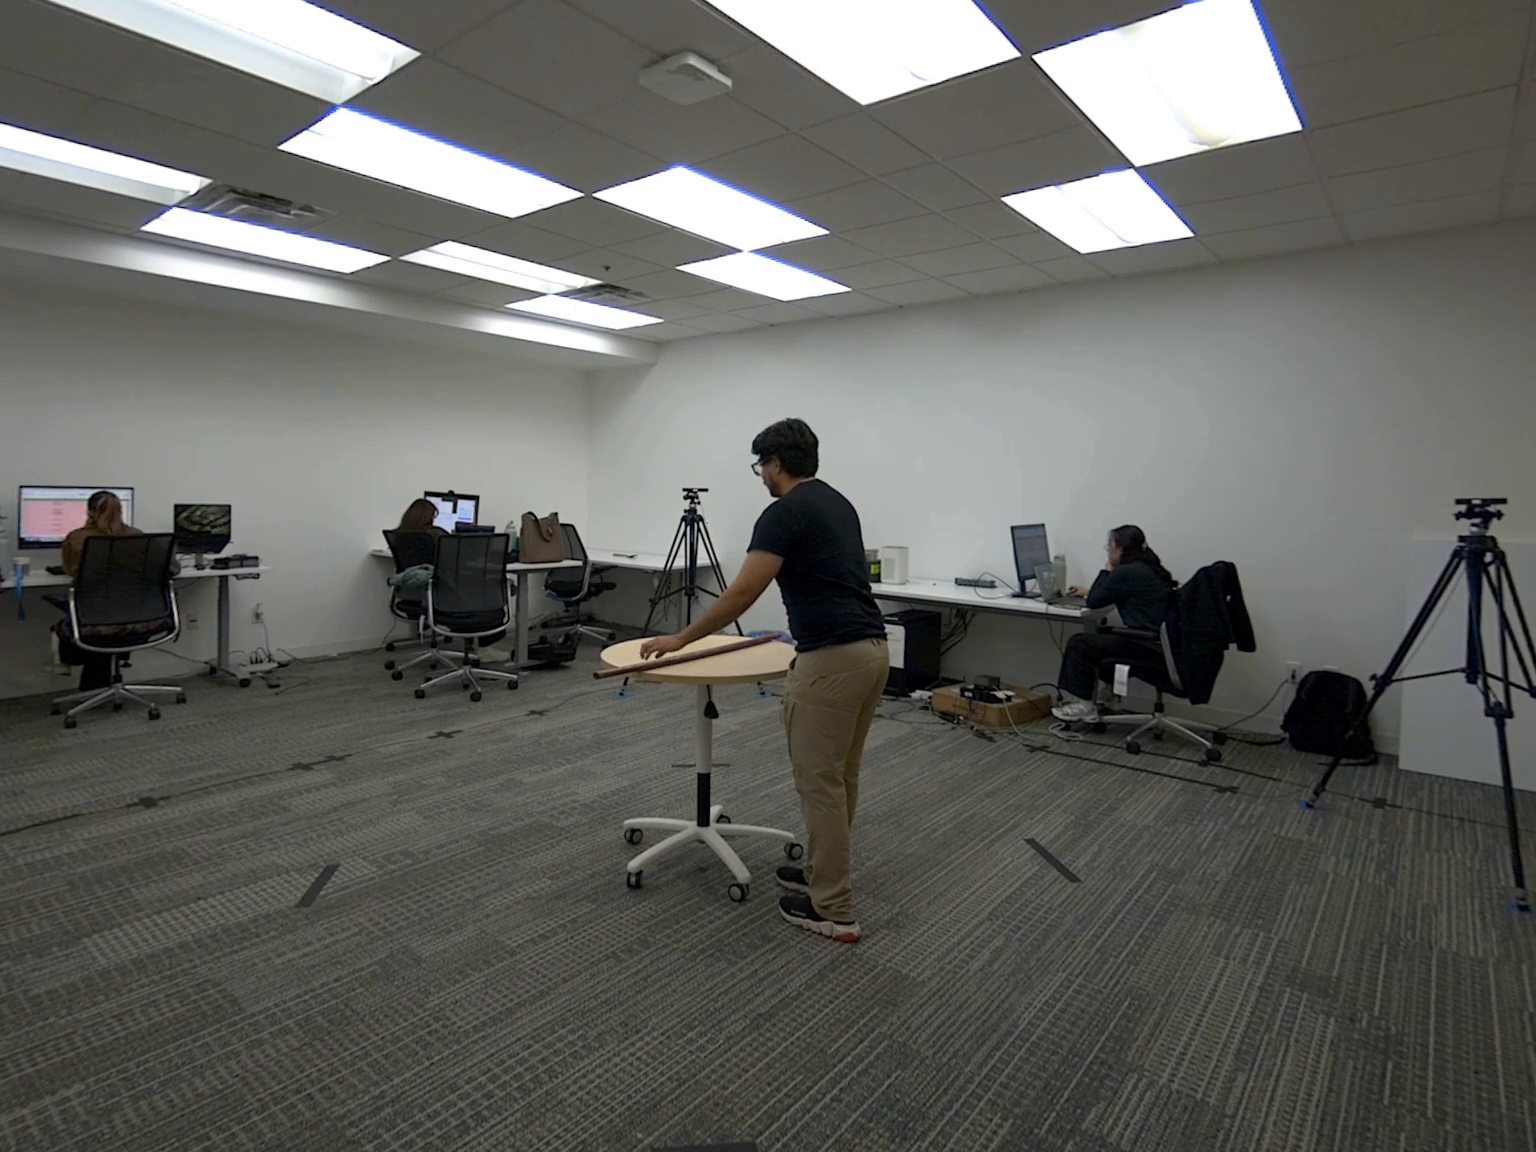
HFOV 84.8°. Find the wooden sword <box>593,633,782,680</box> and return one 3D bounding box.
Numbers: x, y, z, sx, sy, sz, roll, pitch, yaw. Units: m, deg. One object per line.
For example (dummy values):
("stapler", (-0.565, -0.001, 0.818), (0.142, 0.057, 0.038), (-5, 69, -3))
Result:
("wooden sword", (-0.261, 0.276, 3.070), (0.053, 0.024, 0.995), (12, 12, 40))
